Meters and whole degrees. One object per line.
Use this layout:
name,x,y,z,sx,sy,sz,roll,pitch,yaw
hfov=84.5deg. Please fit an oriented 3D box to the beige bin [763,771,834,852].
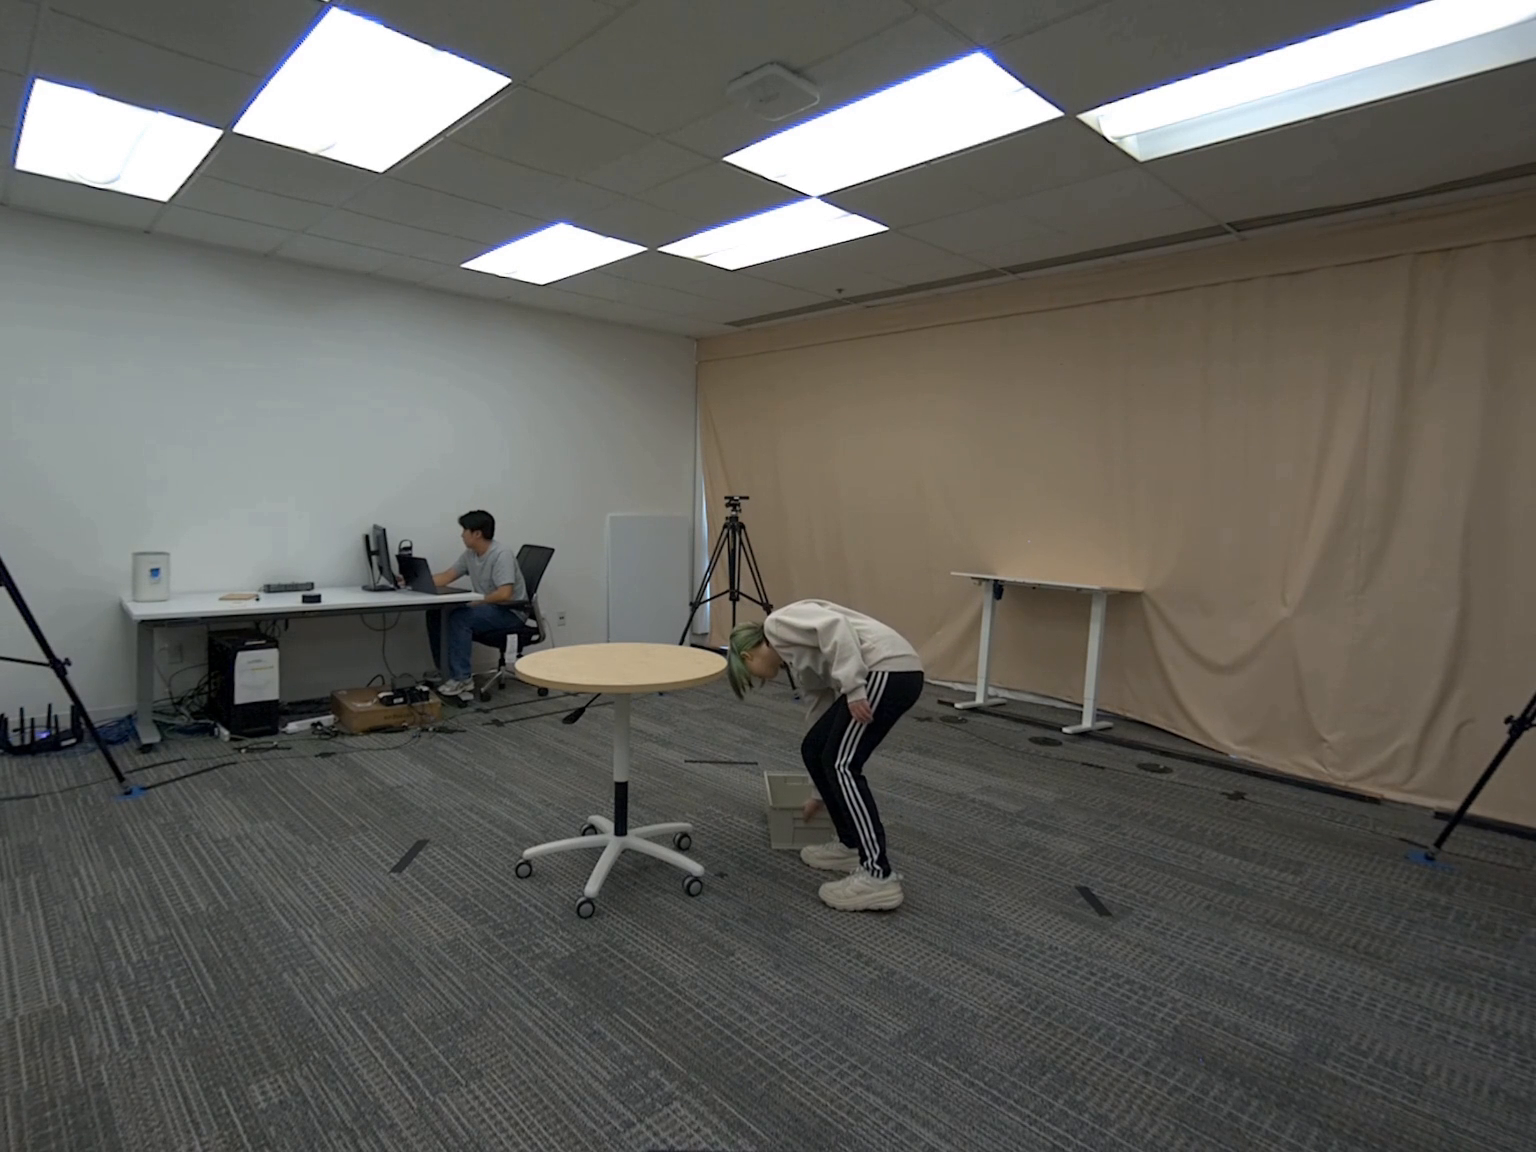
beige bin,0.175,0.984,3.557,0.377,0.188,0.424,0,5,-3
